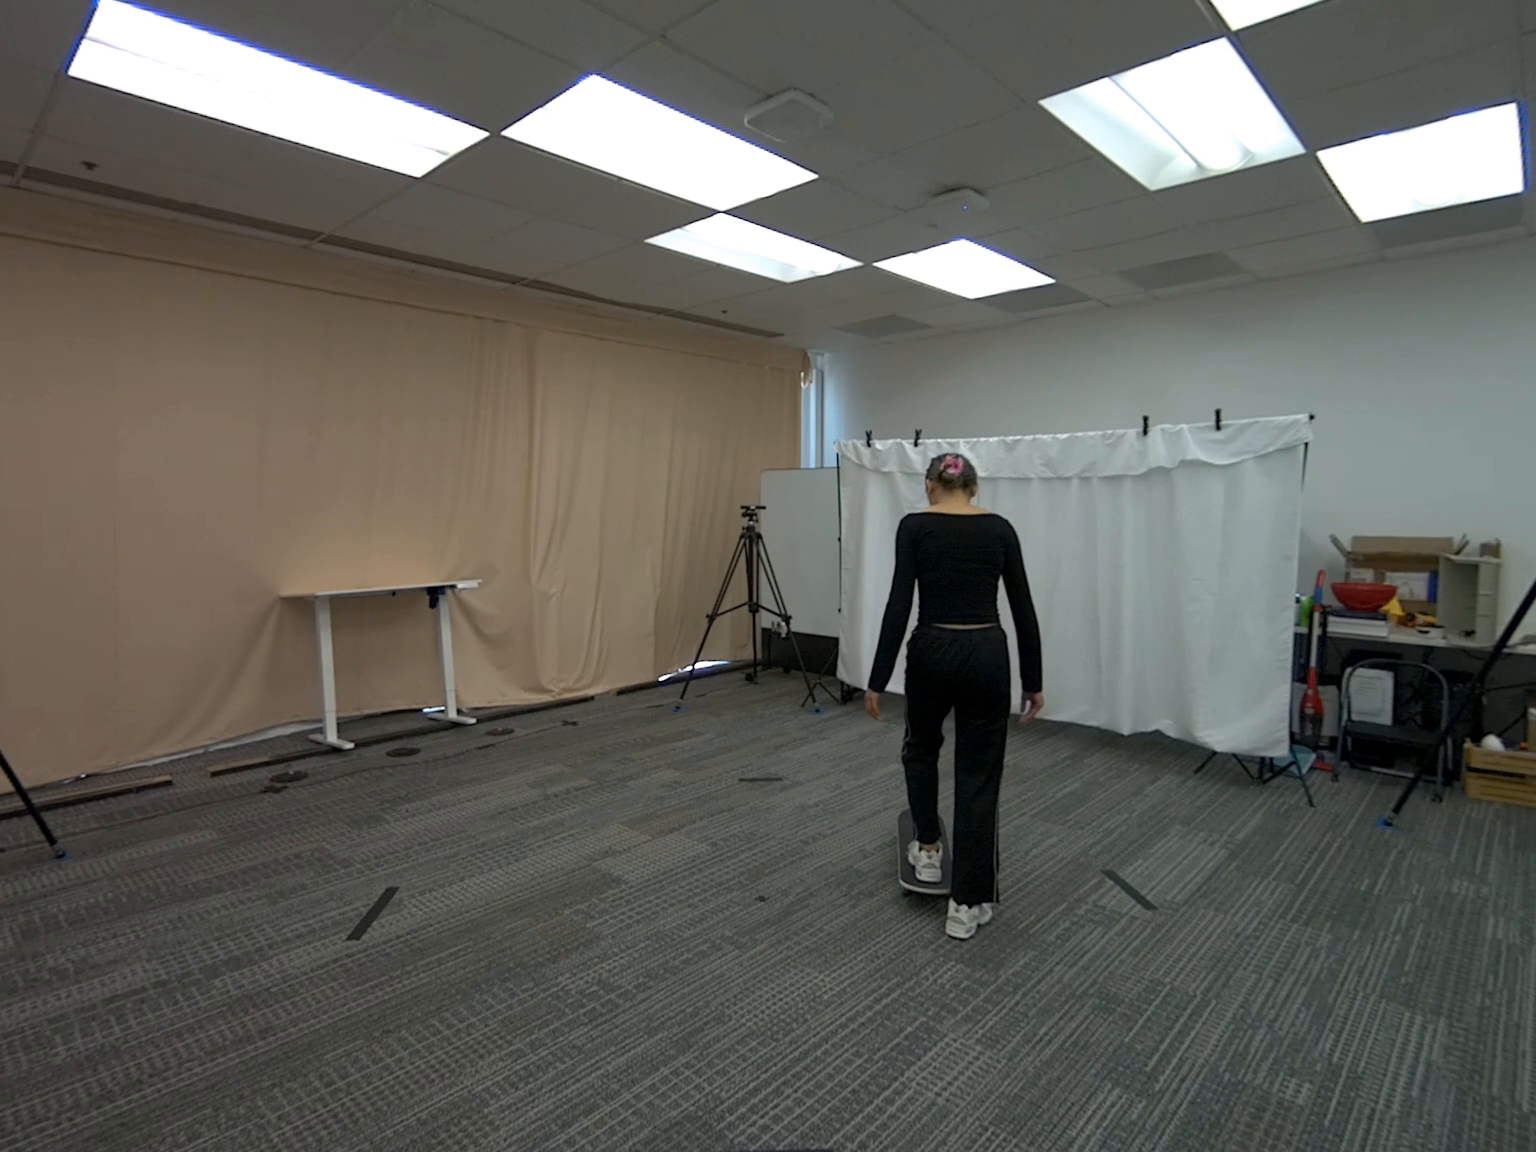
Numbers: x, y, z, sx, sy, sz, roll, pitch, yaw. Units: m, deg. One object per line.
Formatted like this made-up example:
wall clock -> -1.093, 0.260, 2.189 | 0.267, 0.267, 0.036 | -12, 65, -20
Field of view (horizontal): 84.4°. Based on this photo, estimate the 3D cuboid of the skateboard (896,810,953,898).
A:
skateboard -> 0.598, 1.073, 3.195 | 0.195, 0.110, 0.779 | 1, 6, 8
